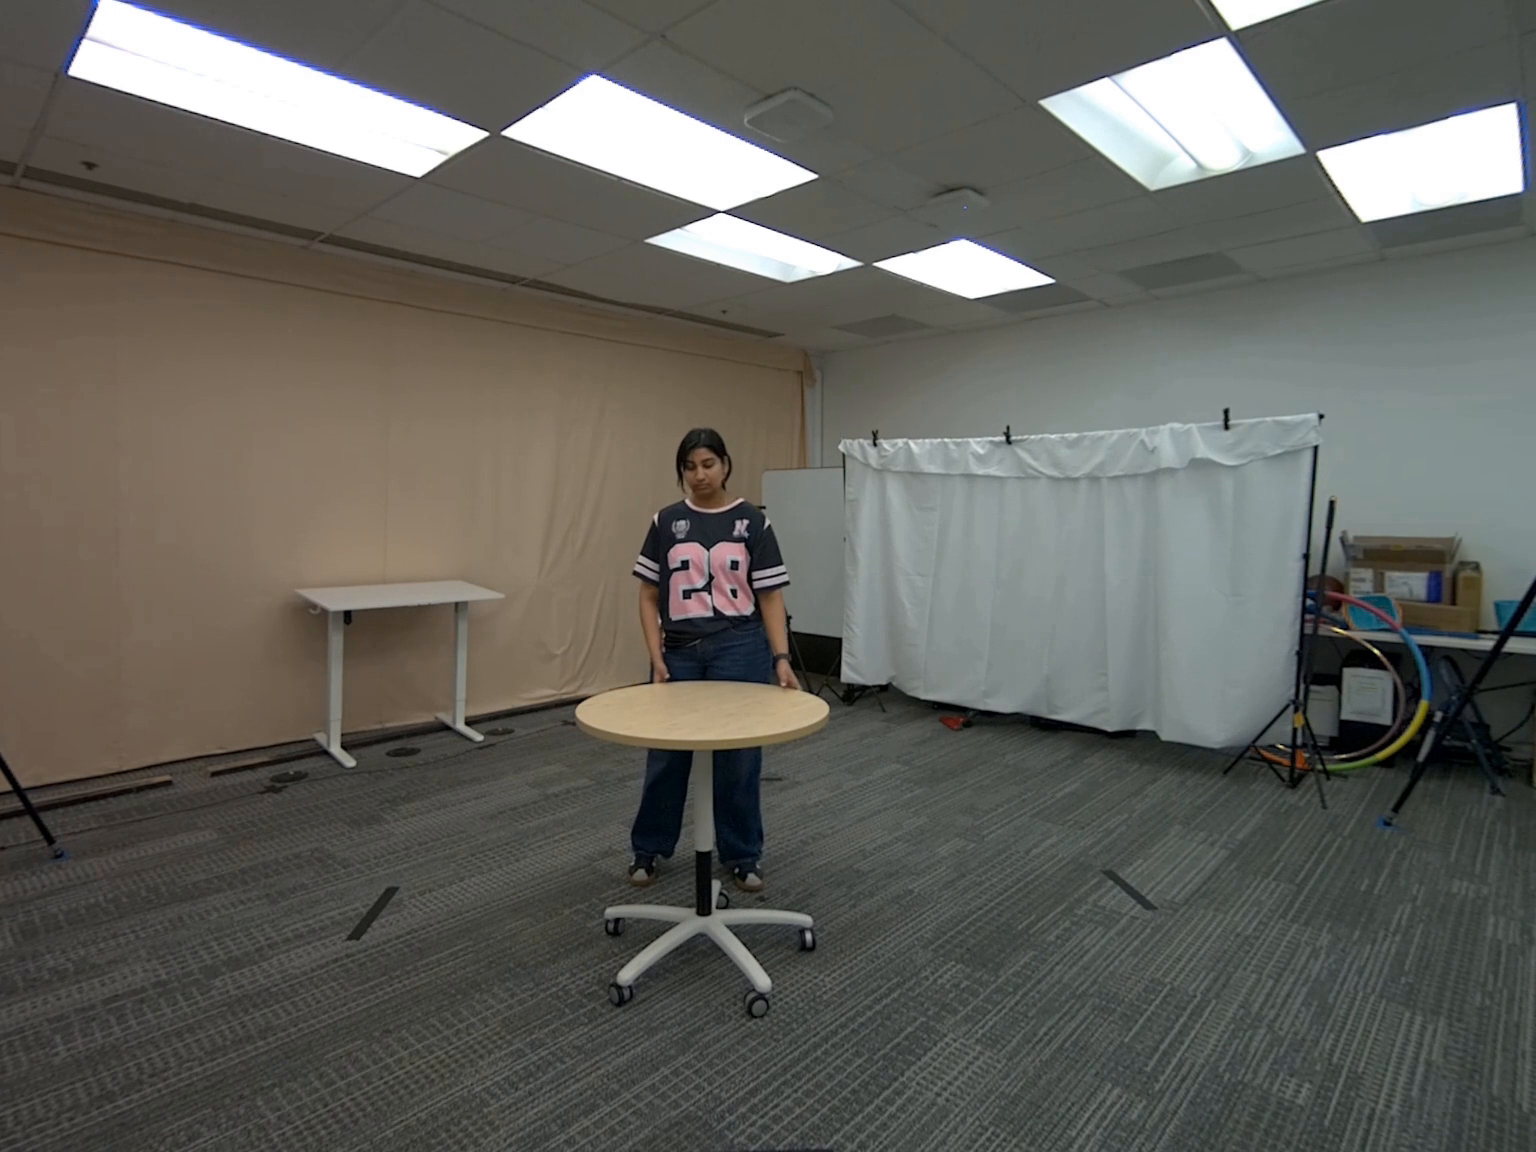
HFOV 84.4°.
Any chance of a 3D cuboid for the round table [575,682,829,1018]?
[{"bbox_3d":[-0.199,0.787,2.574,0.763,0.792,0.766,-1,3,-2],"label":"round table"}]
